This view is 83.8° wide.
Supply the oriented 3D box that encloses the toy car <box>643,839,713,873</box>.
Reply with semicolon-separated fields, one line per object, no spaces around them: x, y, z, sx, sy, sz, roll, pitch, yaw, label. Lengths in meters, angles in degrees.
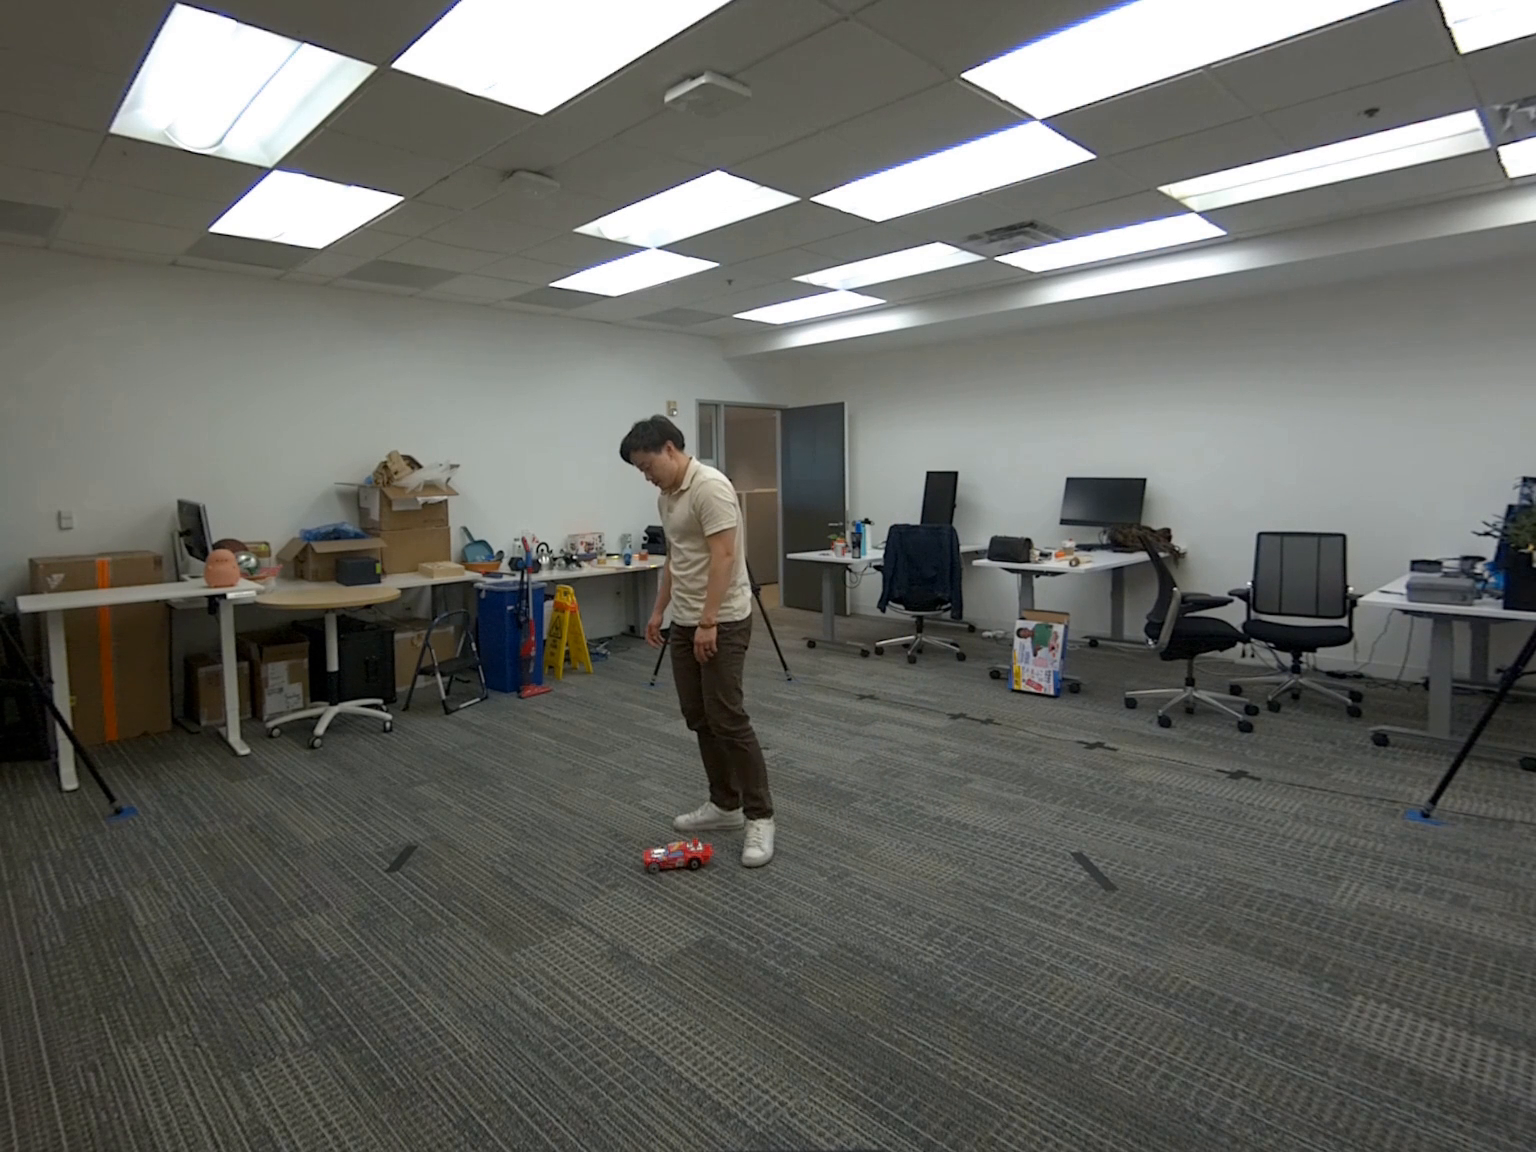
-0.328;1.018;3.096;0.254;0.083;0.131;-11;7;-4;toy car
